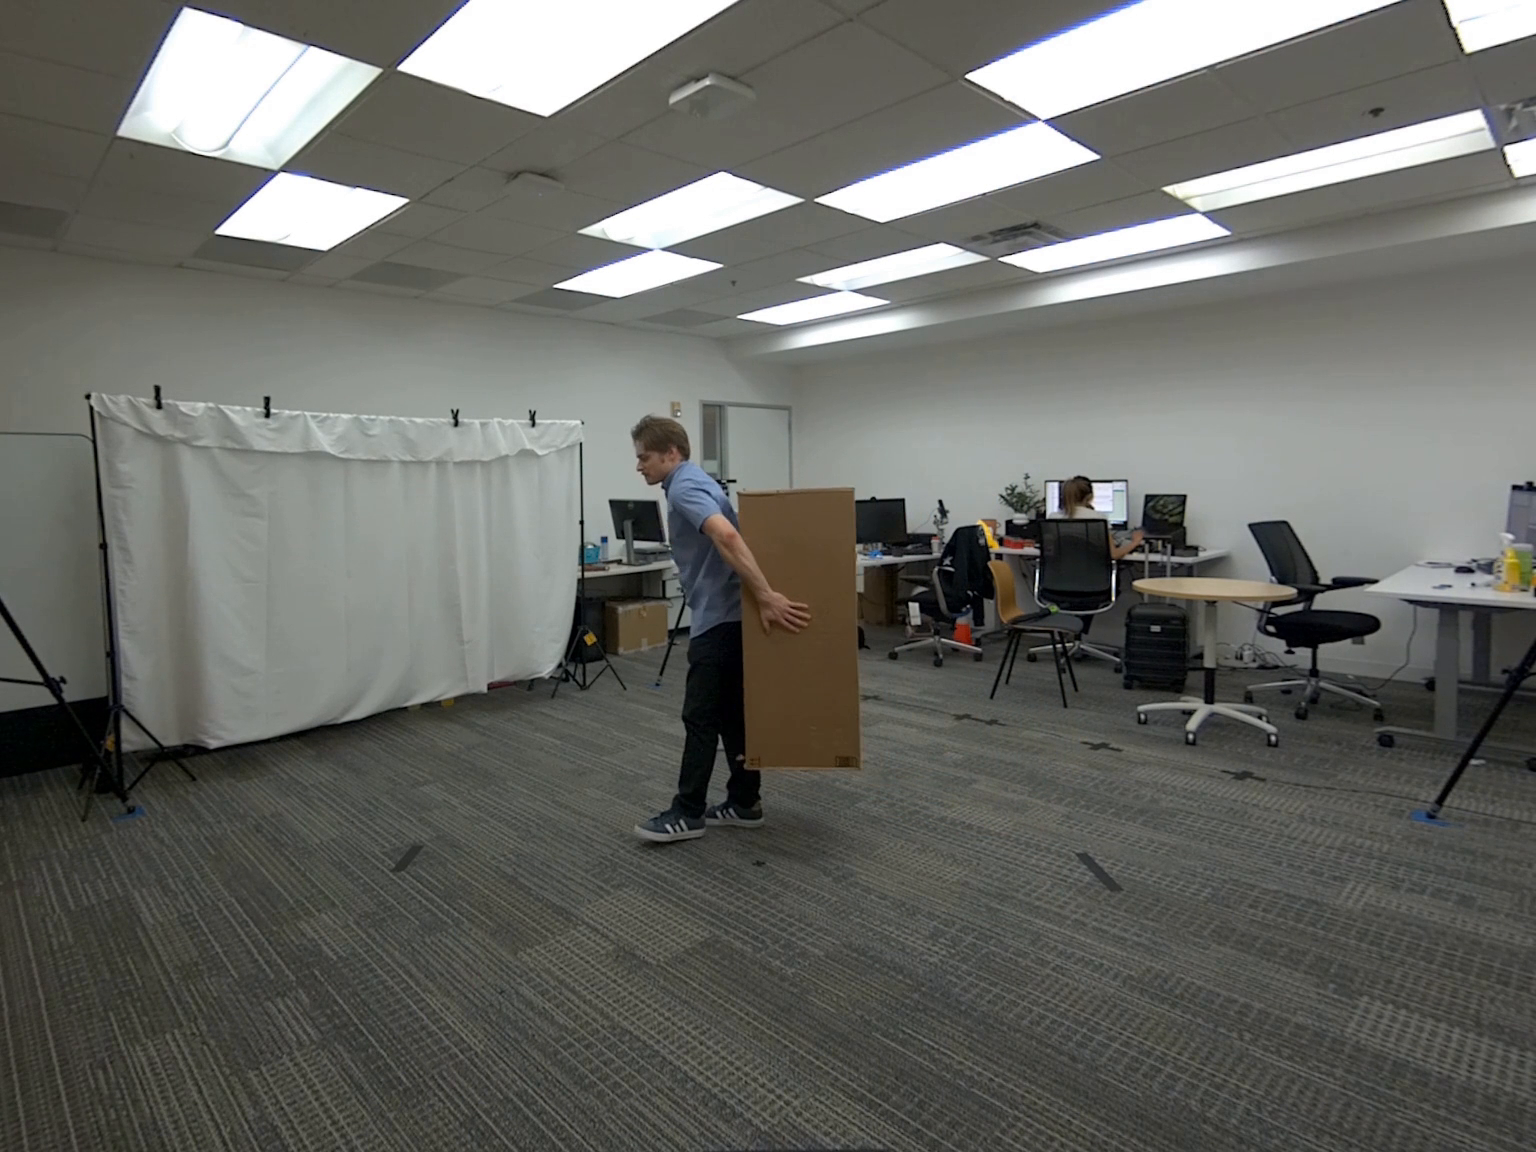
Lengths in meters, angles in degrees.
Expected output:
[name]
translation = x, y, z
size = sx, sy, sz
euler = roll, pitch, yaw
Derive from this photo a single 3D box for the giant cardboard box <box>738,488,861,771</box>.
[giant cardboard box]
translation = 0.128, 0.175, 3.349
size = 0.448, 1.024, 0.584
euler = -1, 3, 2
